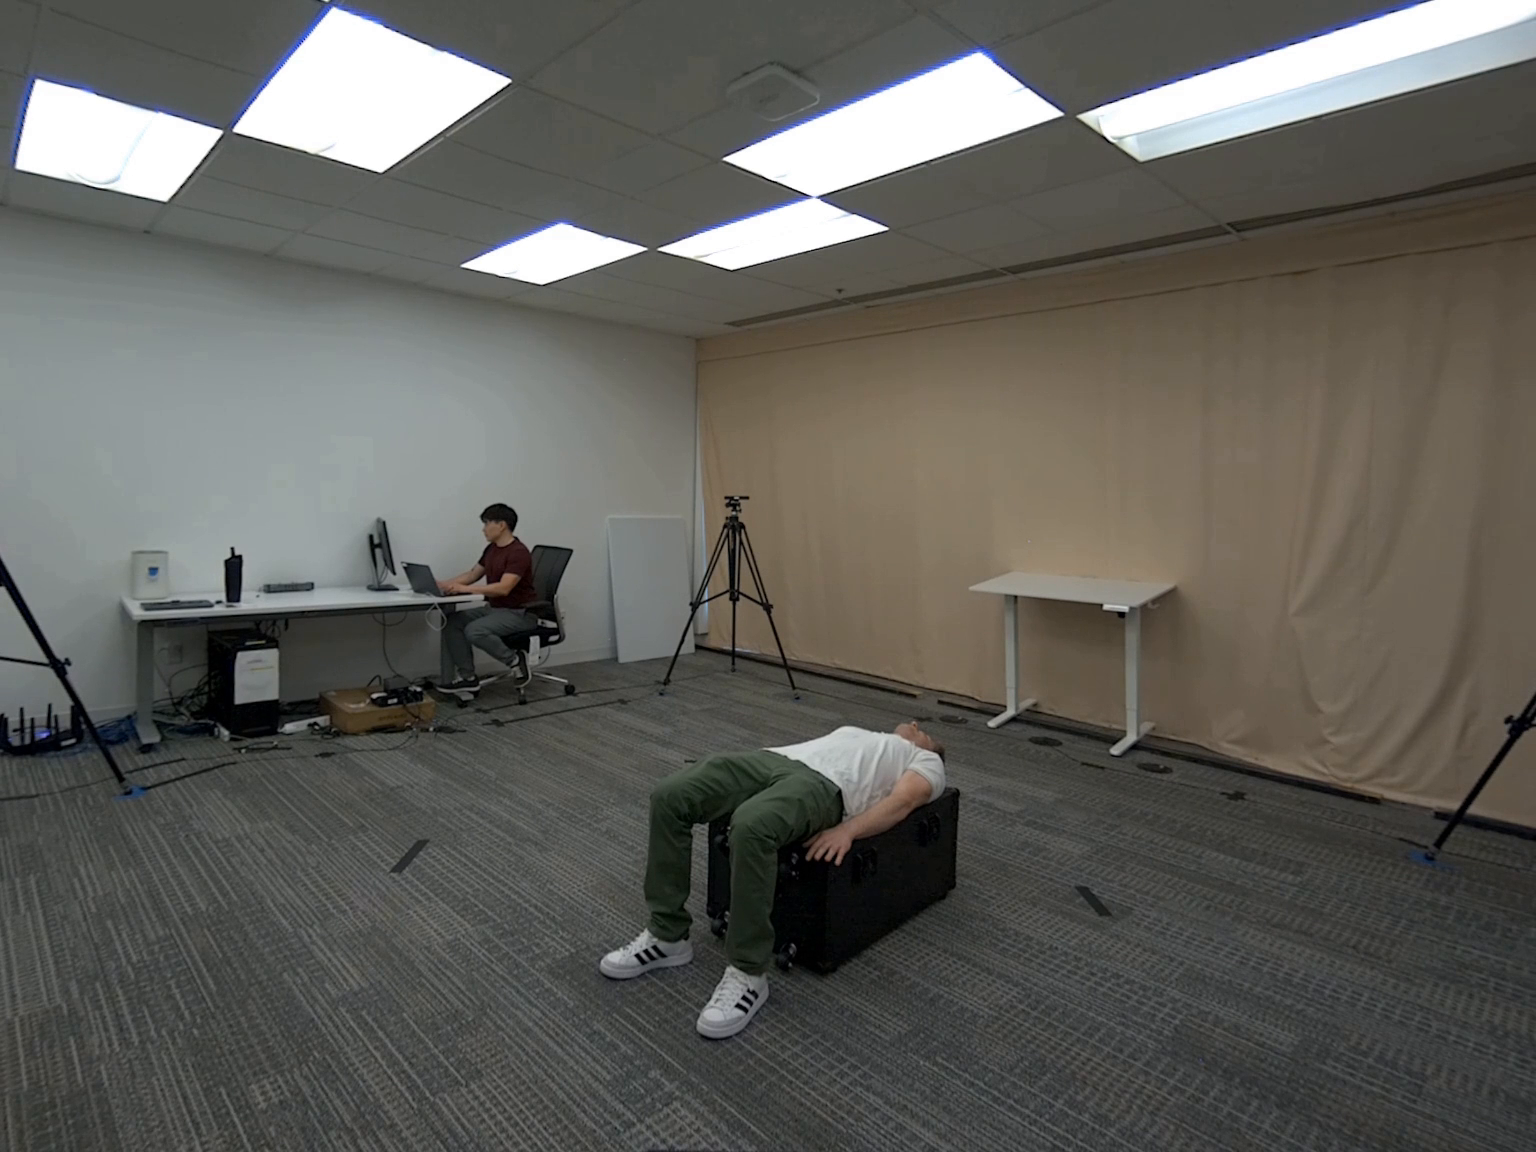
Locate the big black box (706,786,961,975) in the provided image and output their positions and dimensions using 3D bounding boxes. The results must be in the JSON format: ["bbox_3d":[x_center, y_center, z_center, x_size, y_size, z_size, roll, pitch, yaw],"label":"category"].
[{"bbox_3d":[0.204,0.949,2.842,0.537,0.384,0.849,6,8,42],"label":"big black box"}]
